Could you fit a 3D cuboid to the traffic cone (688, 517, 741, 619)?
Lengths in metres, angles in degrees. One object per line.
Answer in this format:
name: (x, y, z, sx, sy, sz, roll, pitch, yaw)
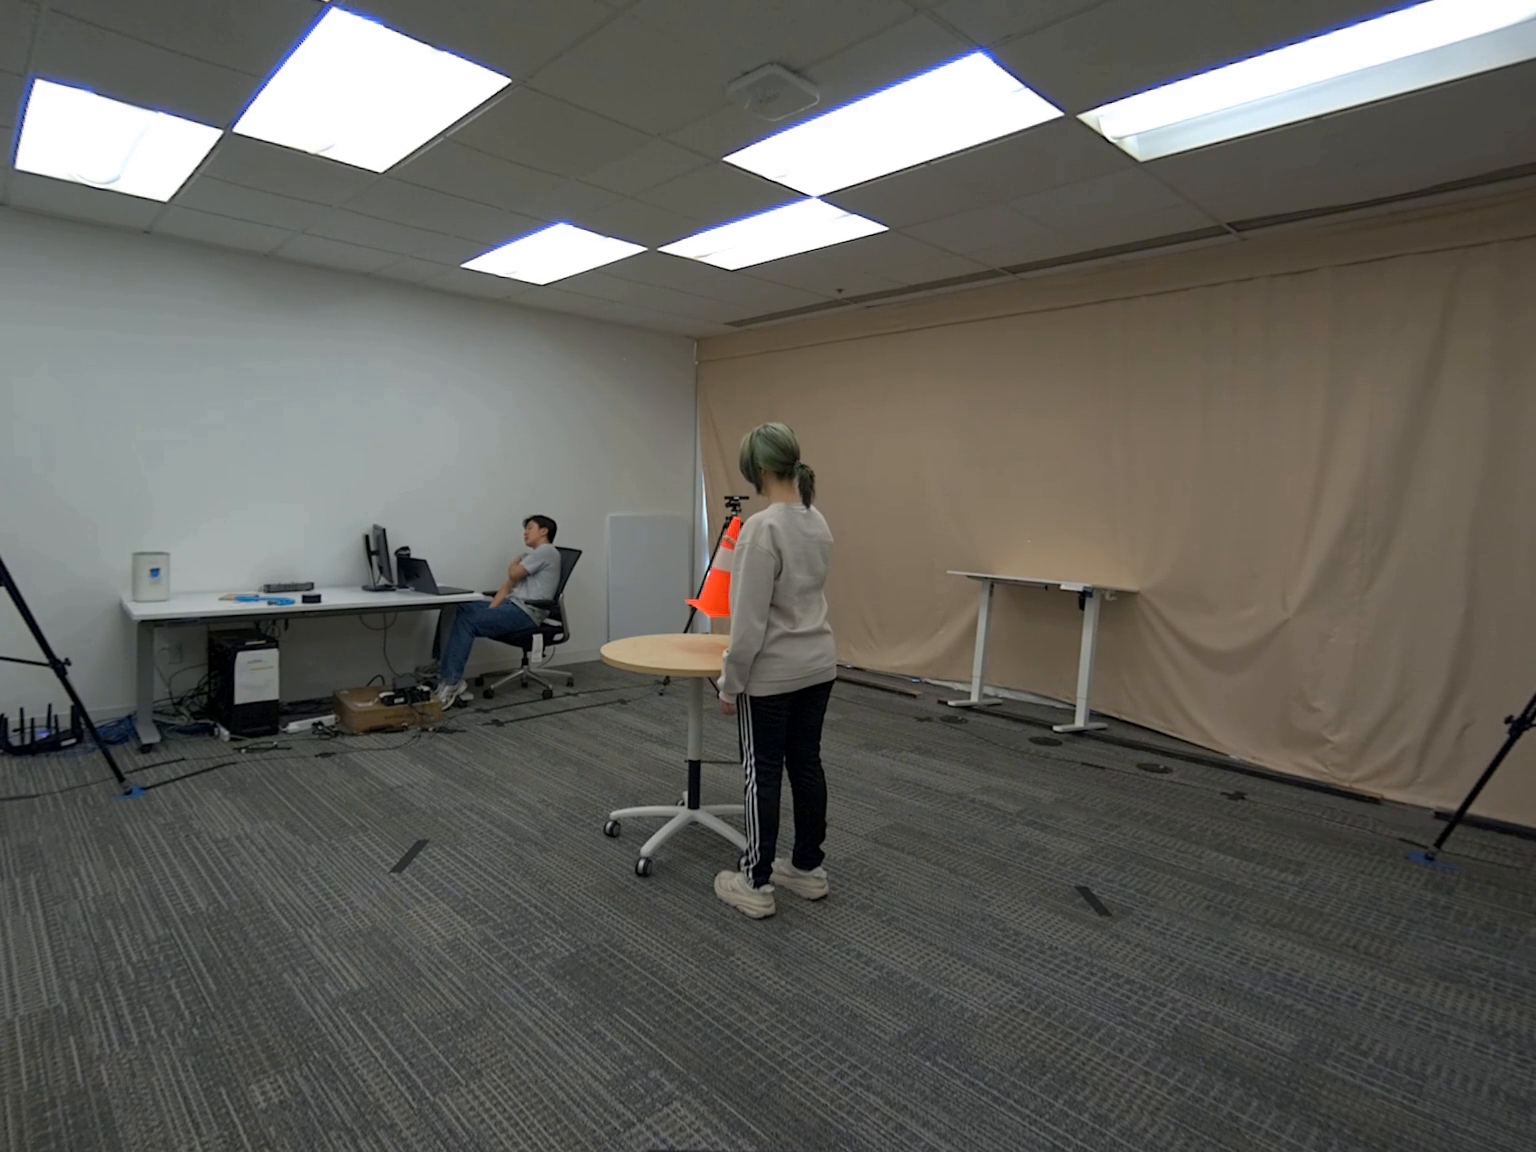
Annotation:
traffic cone: (-0.172, -0.044, 3.378, 0.209, 0.382, 0.200, 20, 11, 40)
